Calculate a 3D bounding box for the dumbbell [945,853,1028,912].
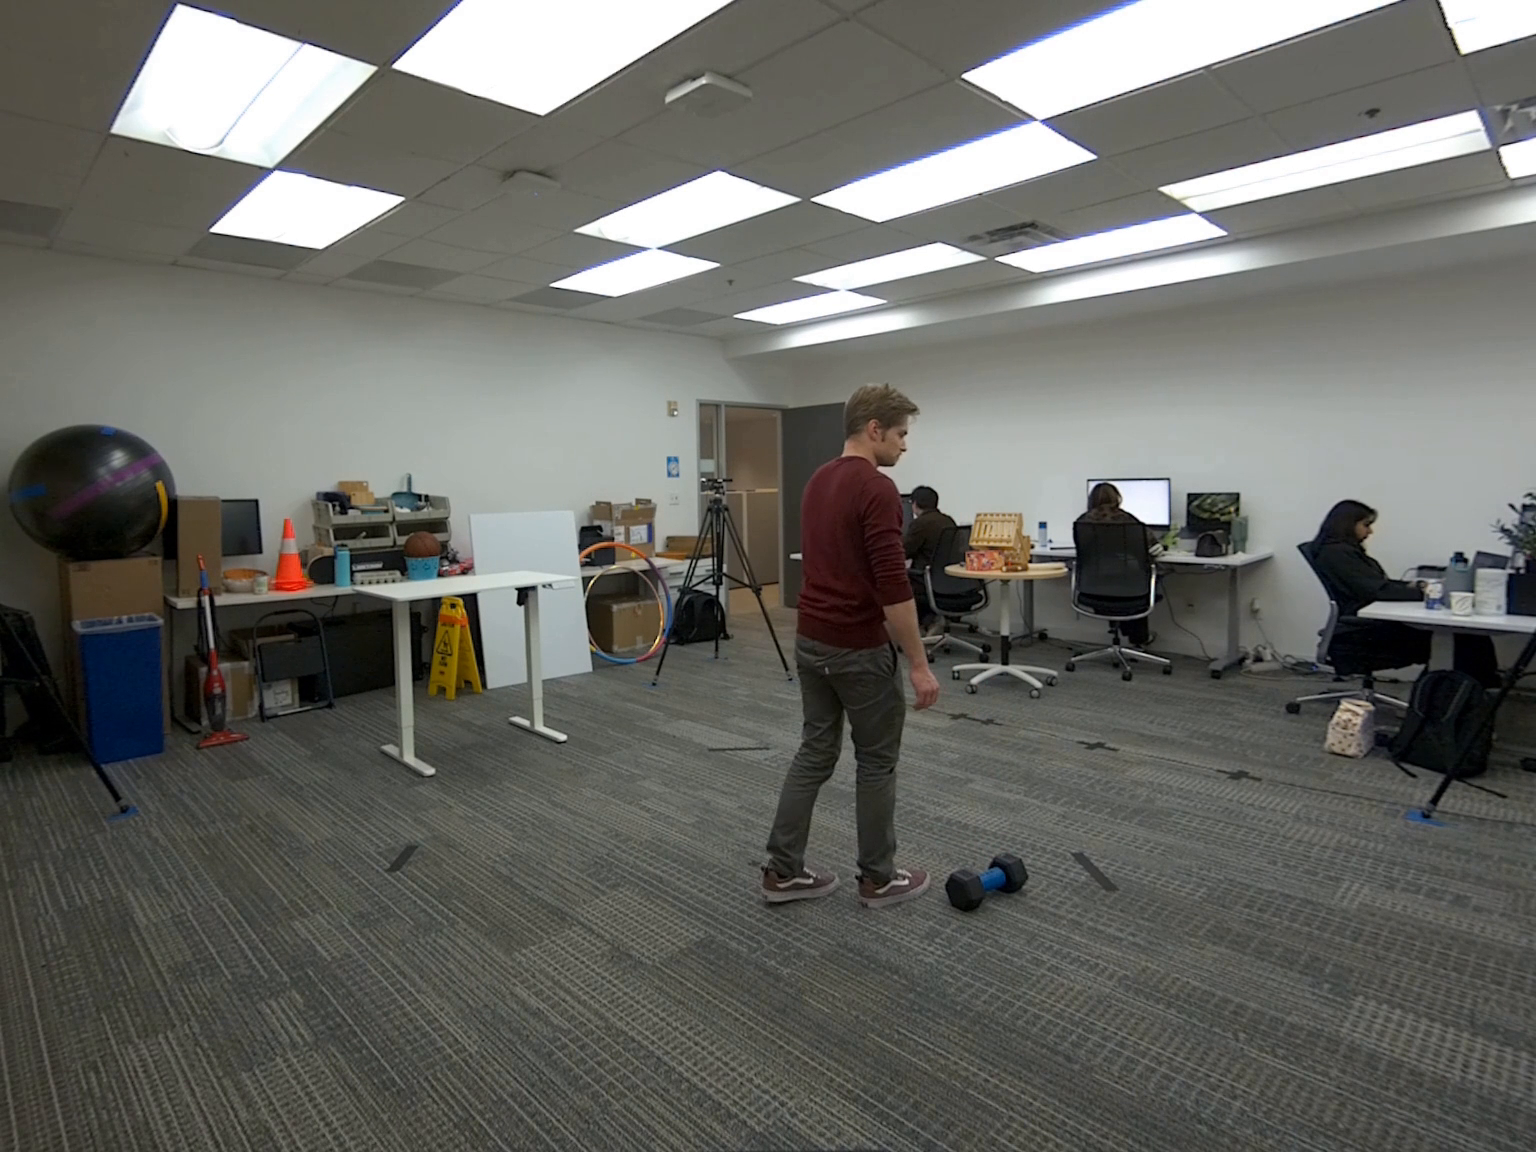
[{"bbox_3d":[0.733,1.013,2.821,0.286,0.126,0.109,-6,-23,-34],"label":"dumbbell"}]
